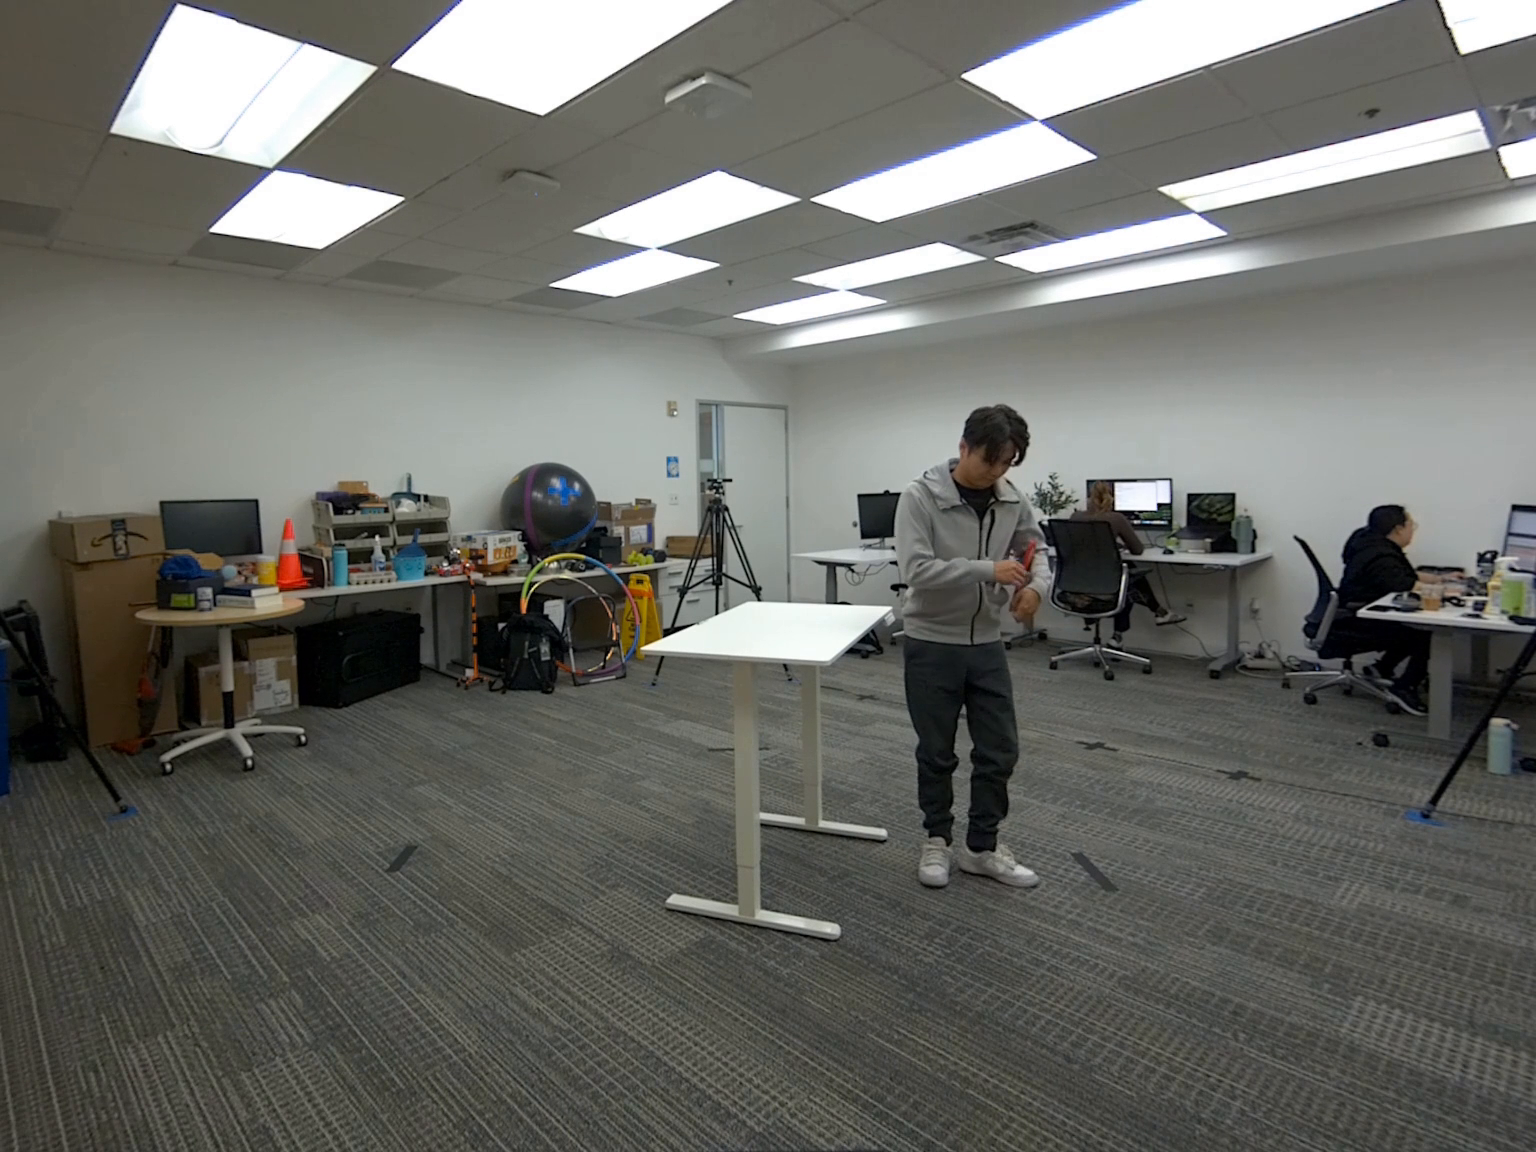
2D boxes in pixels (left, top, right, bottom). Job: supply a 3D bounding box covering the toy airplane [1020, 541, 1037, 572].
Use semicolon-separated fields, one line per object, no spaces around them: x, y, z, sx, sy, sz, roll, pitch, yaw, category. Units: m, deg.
0.856;0.001;2.969;0.153;0.258;0.257;29;23;-16;toy airplane
